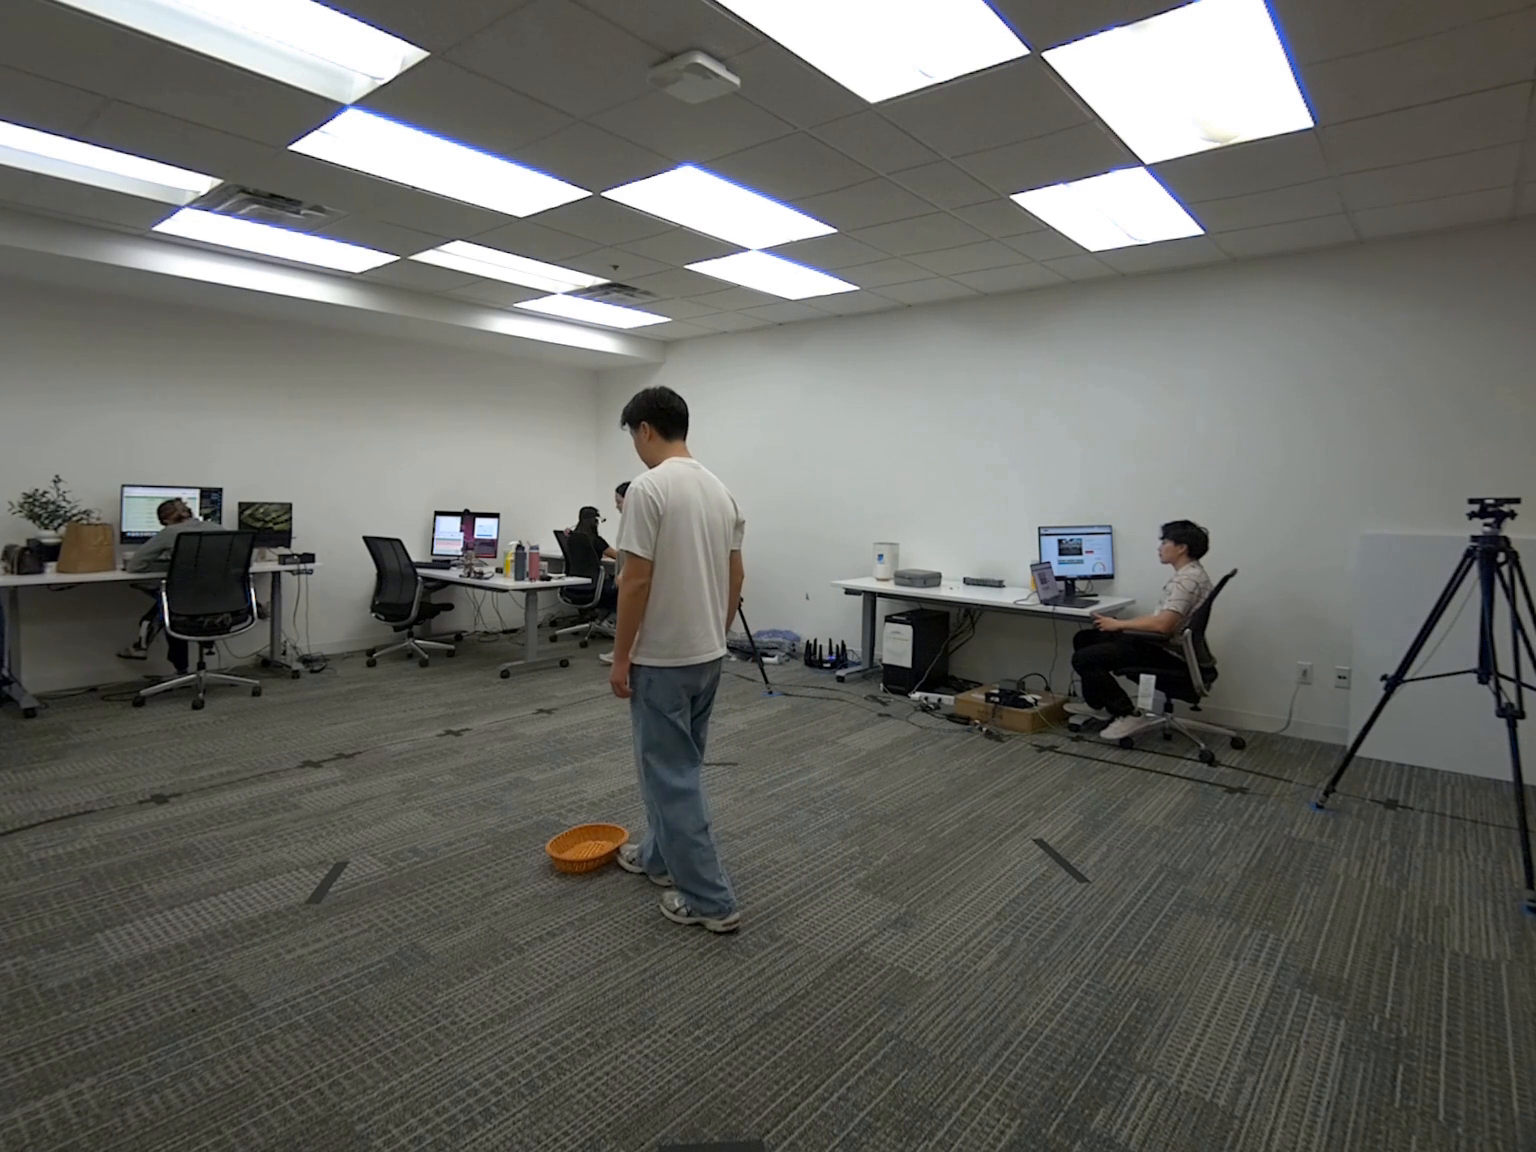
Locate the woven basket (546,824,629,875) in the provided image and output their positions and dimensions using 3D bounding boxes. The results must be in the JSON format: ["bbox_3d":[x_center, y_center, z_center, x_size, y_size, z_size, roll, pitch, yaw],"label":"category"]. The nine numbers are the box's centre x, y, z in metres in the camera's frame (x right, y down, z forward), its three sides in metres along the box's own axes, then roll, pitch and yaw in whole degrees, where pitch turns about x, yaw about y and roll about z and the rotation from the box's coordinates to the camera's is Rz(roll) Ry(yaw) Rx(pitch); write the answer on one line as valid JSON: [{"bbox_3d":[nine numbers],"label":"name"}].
[{"bbox_3d":[-0.685,1.012,3.168,0.259,0.073,0.343,3,5,23],"label":"woven basket"}]
